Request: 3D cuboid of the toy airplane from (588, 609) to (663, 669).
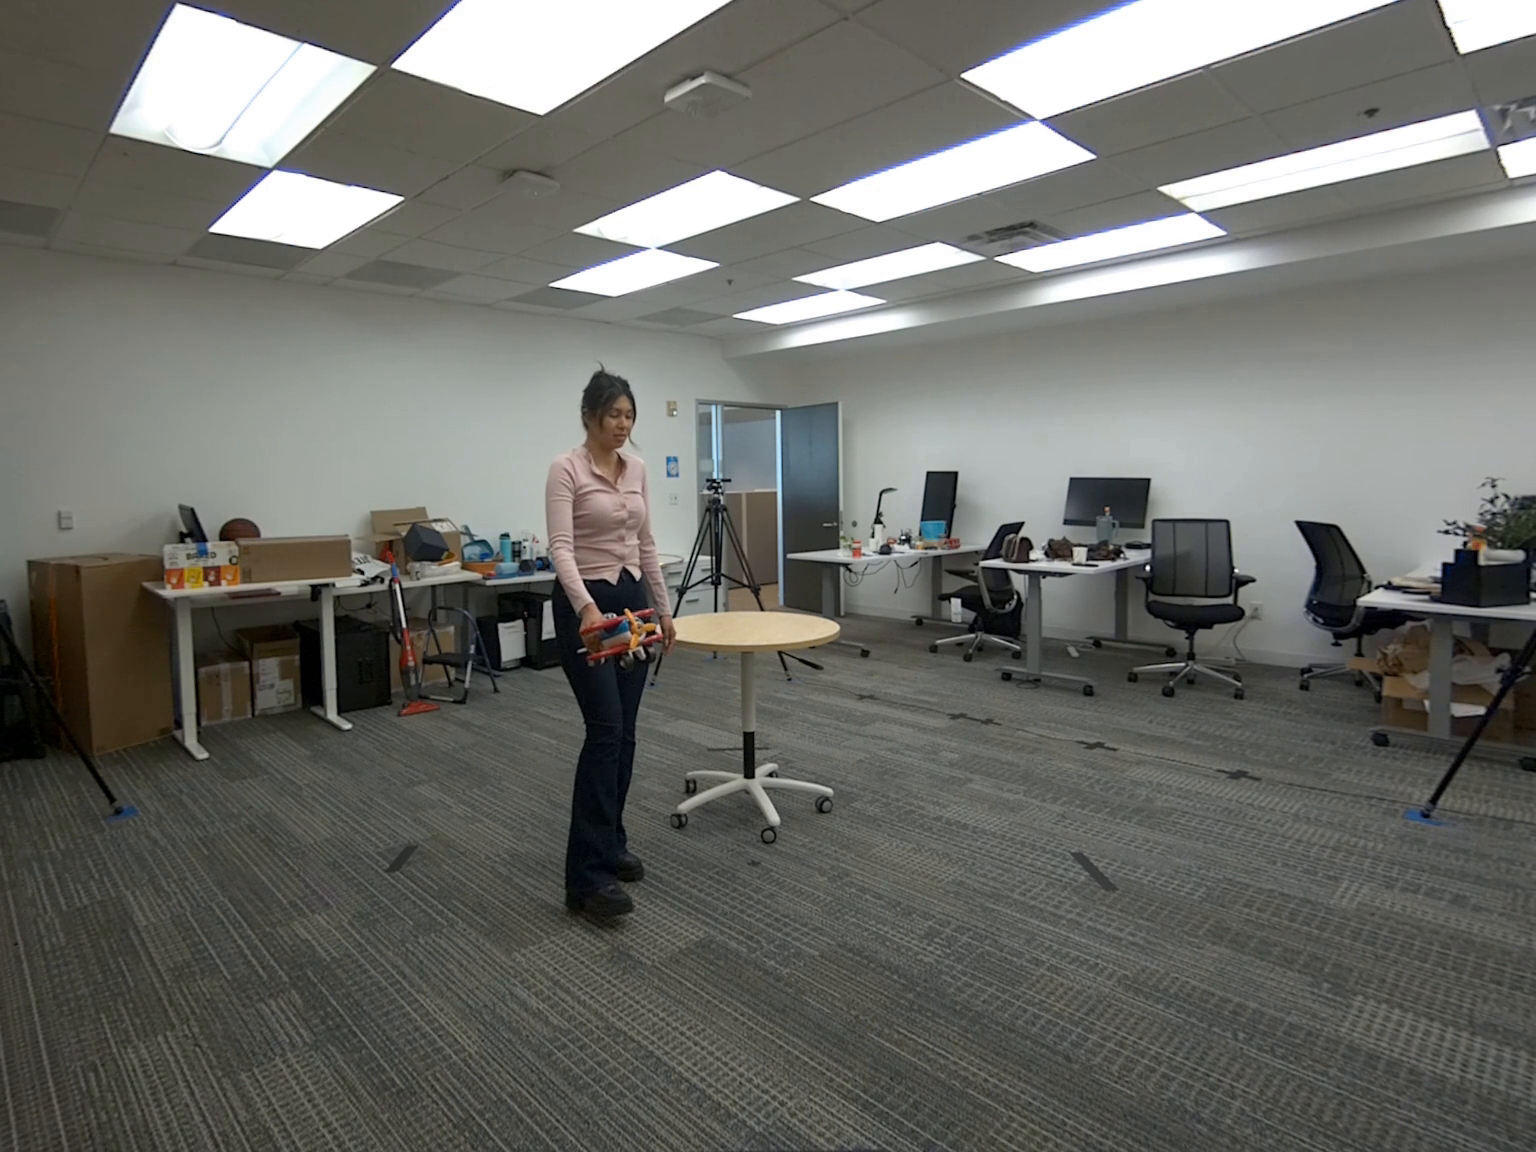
[{"bbox_3d":[-0.461,0.191,2.502,0.263,0.155,0.250,-3,10,15],"label":"toy airplane"}]
